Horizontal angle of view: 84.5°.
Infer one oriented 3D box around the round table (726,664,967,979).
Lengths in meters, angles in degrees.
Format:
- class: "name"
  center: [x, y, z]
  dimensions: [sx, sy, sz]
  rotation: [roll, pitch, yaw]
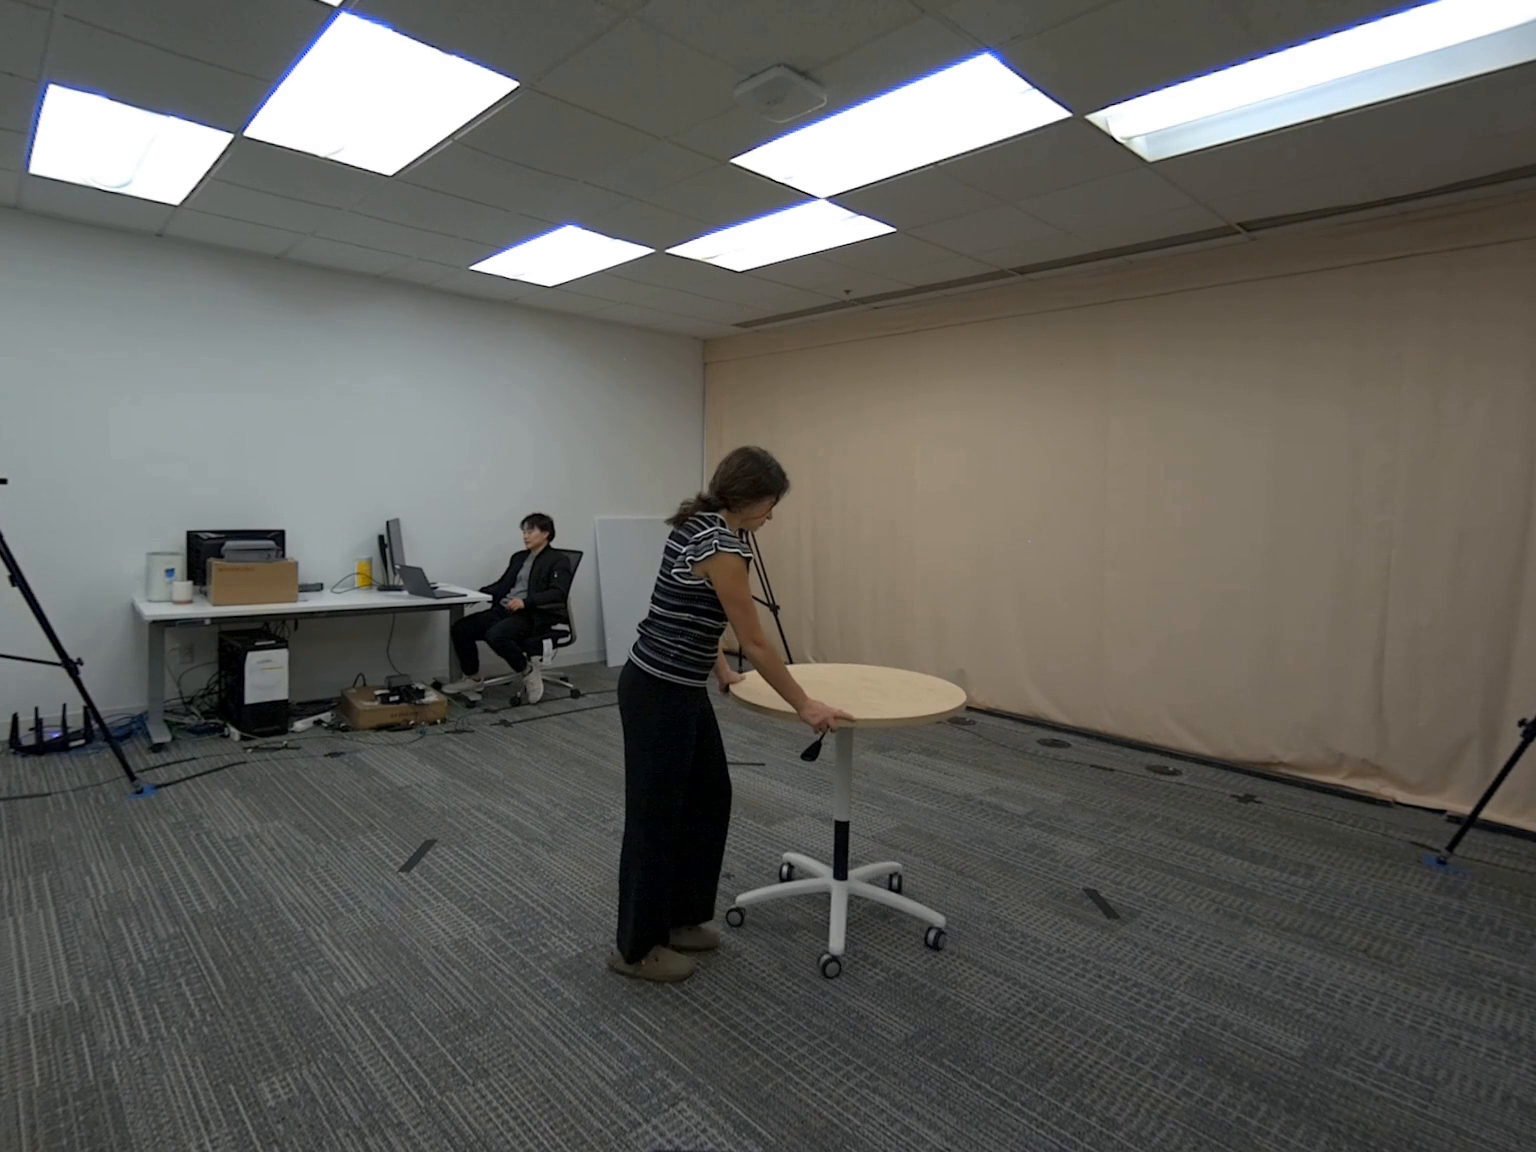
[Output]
- class: "round table"
  center: [0.238, 0.756, 2.788]
  dimensions: [0.763, 0.792, 0.767]
  rotation: [1, 4, -1]
